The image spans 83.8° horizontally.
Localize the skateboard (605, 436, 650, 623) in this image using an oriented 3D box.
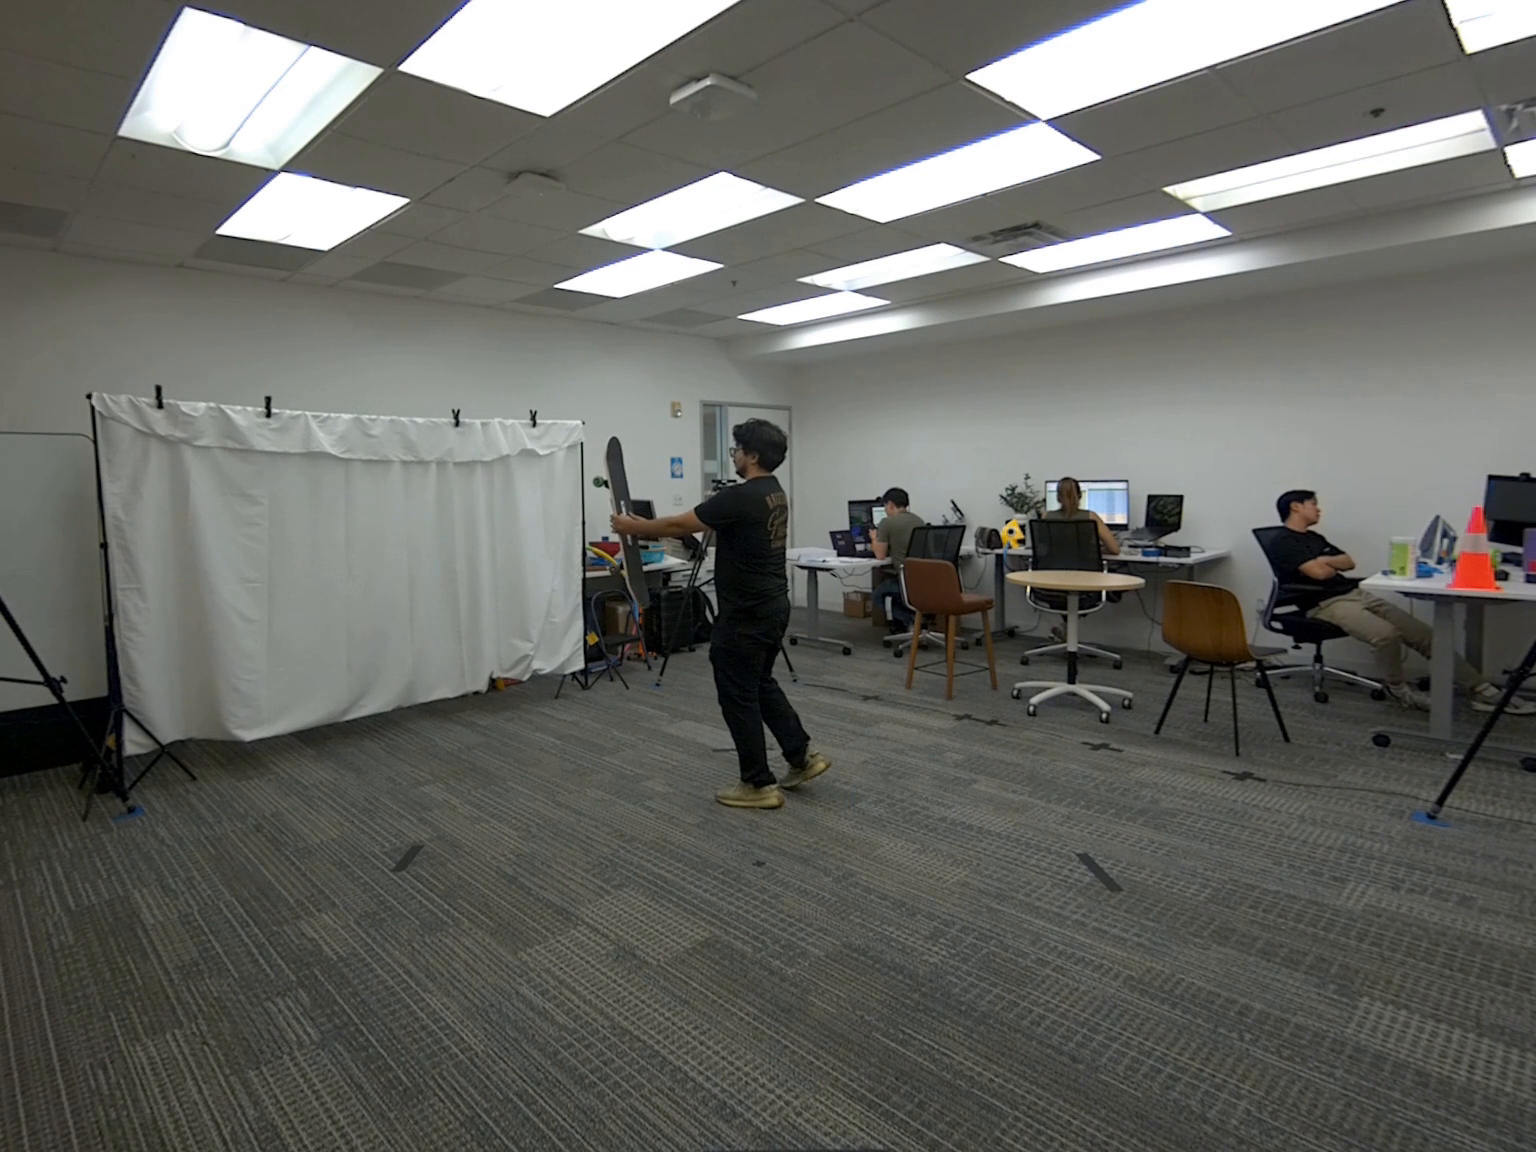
[{"bbox_3d":[-0.669,-0.235,3.863,0.111,0.787,0.191,-11,-2,14],"label":"skateboard"}]
